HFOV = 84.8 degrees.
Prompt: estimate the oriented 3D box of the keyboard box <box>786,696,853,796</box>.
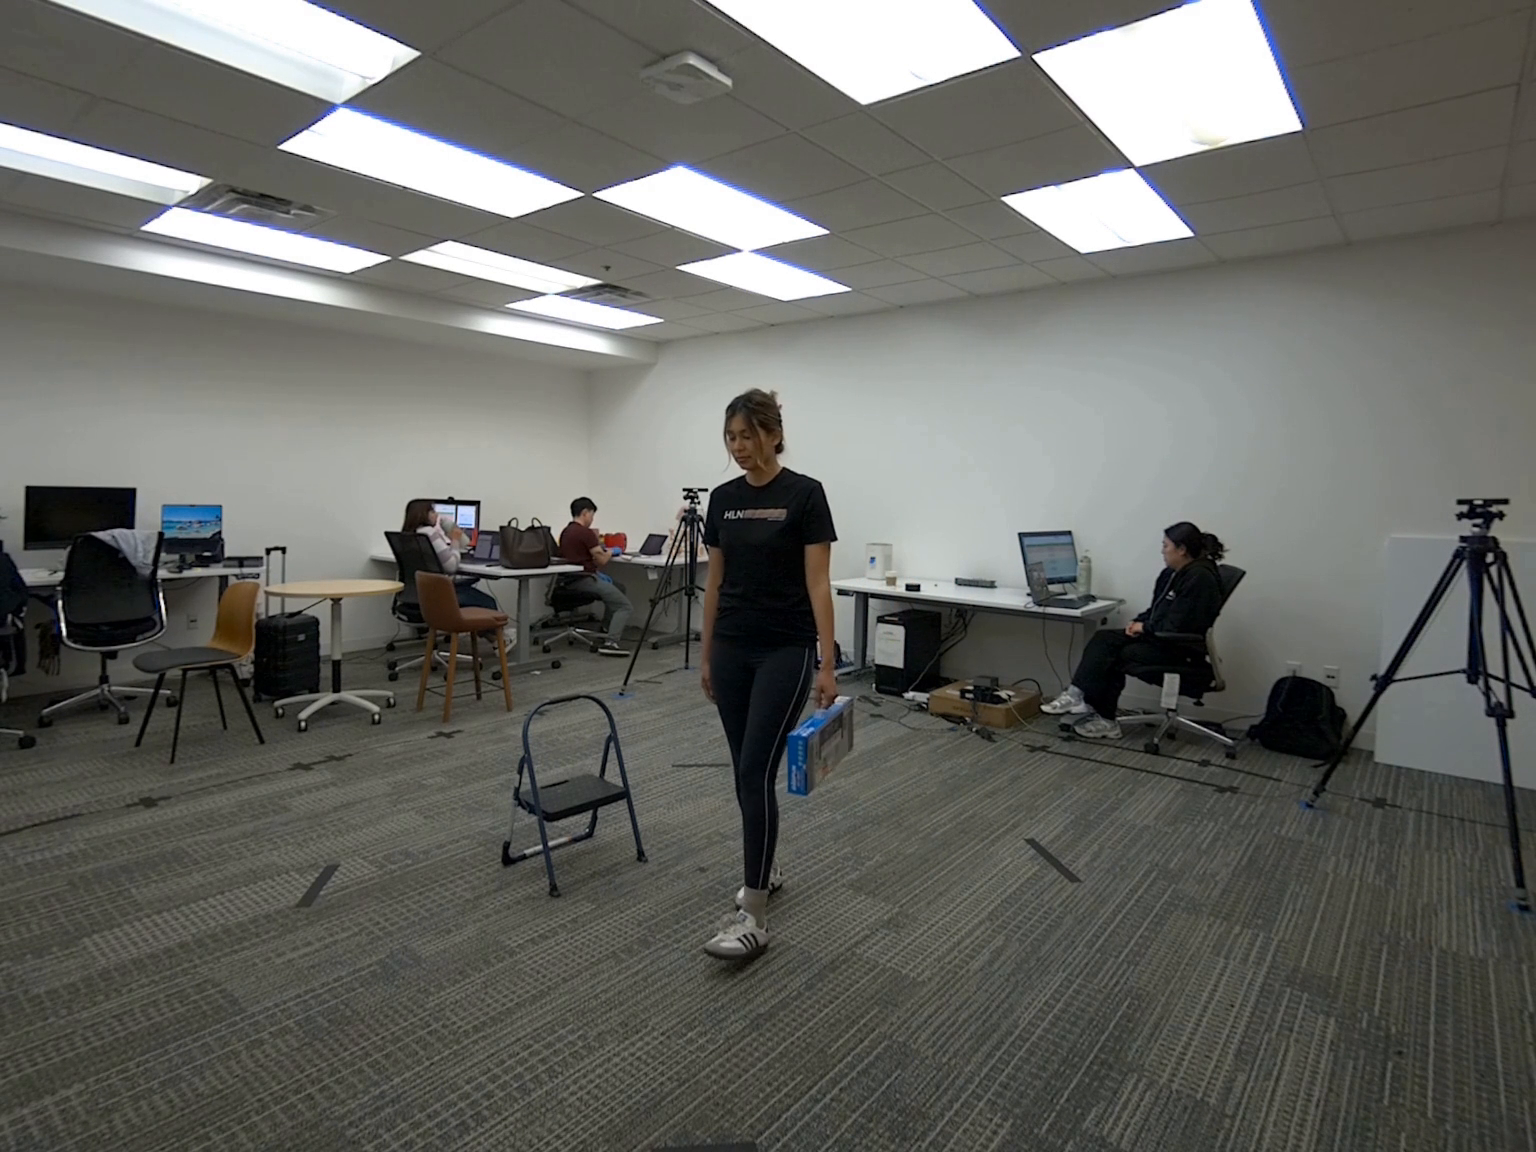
[{"bbox_3d":[0.156,0.502,2.580,0.060,0.175,0.429,2,8,23],"label":"keyboard box"}]
